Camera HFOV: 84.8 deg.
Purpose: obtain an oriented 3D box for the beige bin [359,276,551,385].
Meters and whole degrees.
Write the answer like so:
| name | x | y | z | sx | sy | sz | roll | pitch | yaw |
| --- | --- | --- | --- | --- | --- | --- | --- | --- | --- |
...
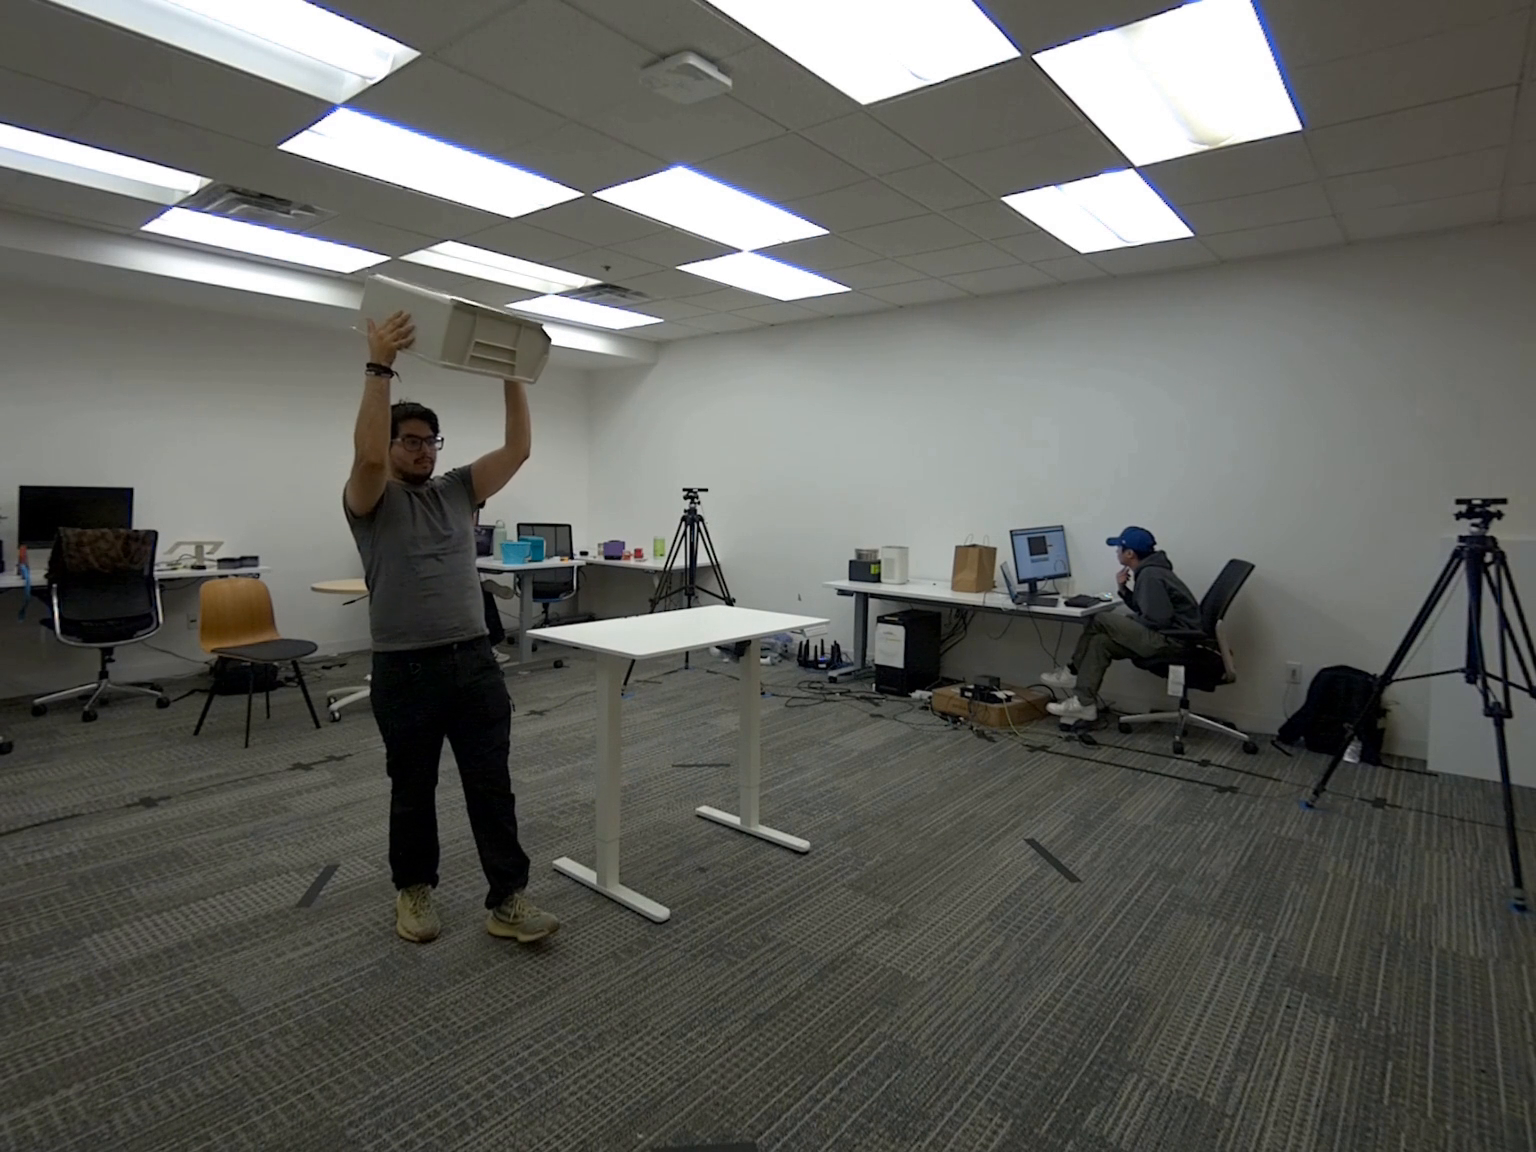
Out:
| name | x | y | z | sx | sy | sz | roll | pitch | yaw |
| --- | --- | --- | --- | --- | --- | --- | --- | --- | --- |
| beige bin | -0.911 | -0.713 | 2.465 | 0.437 | 0.187 | 0.367 | 25 | 14 | 29 |
